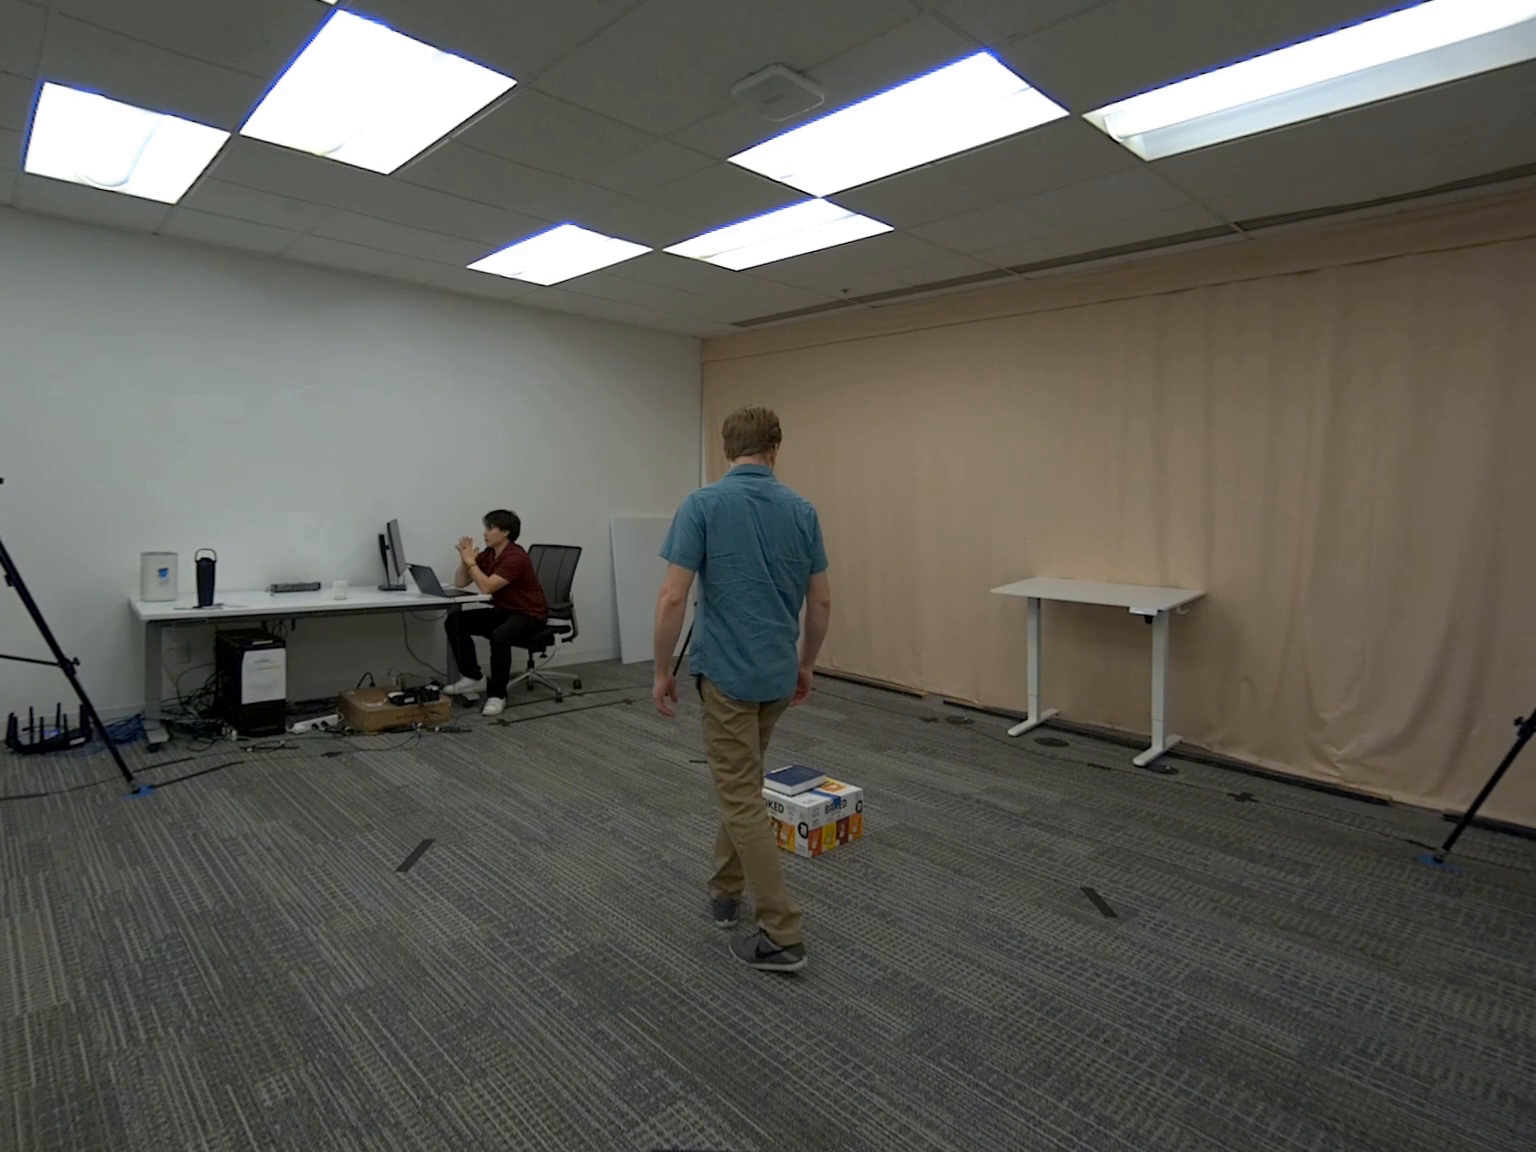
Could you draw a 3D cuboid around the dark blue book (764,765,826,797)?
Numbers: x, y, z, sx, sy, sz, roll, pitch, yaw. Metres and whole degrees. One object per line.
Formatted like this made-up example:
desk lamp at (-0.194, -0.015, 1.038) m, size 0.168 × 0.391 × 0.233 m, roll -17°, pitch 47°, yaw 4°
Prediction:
dark blue book at (0.103, 0.858, 3.539) m, size 0.167 × 0.045 × 0.239 m, roll 6°, pitch 7°, yaw 41°
